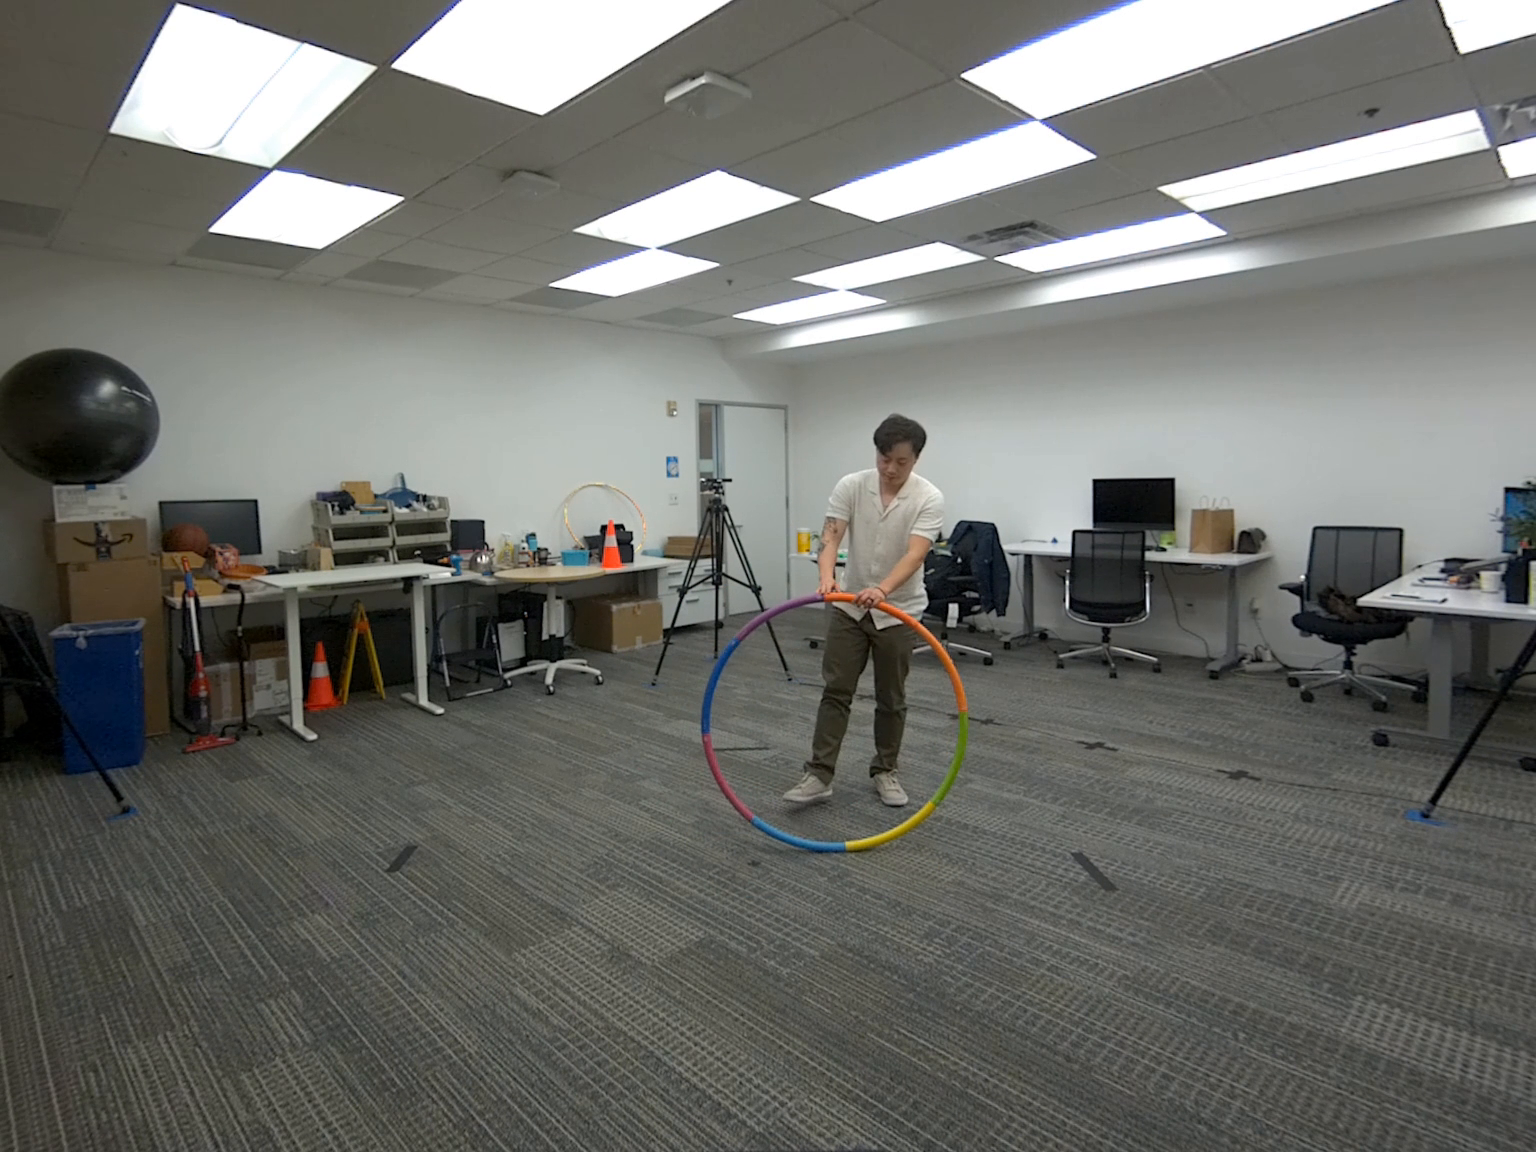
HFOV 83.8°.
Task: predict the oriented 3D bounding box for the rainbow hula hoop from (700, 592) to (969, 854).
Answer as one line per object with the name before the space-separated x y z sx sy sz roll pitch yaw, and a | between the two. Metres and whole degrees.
rainbow hula hoop | 0.246 0.549 3.218 0.978 0.980 0.035 -1 -2 0
